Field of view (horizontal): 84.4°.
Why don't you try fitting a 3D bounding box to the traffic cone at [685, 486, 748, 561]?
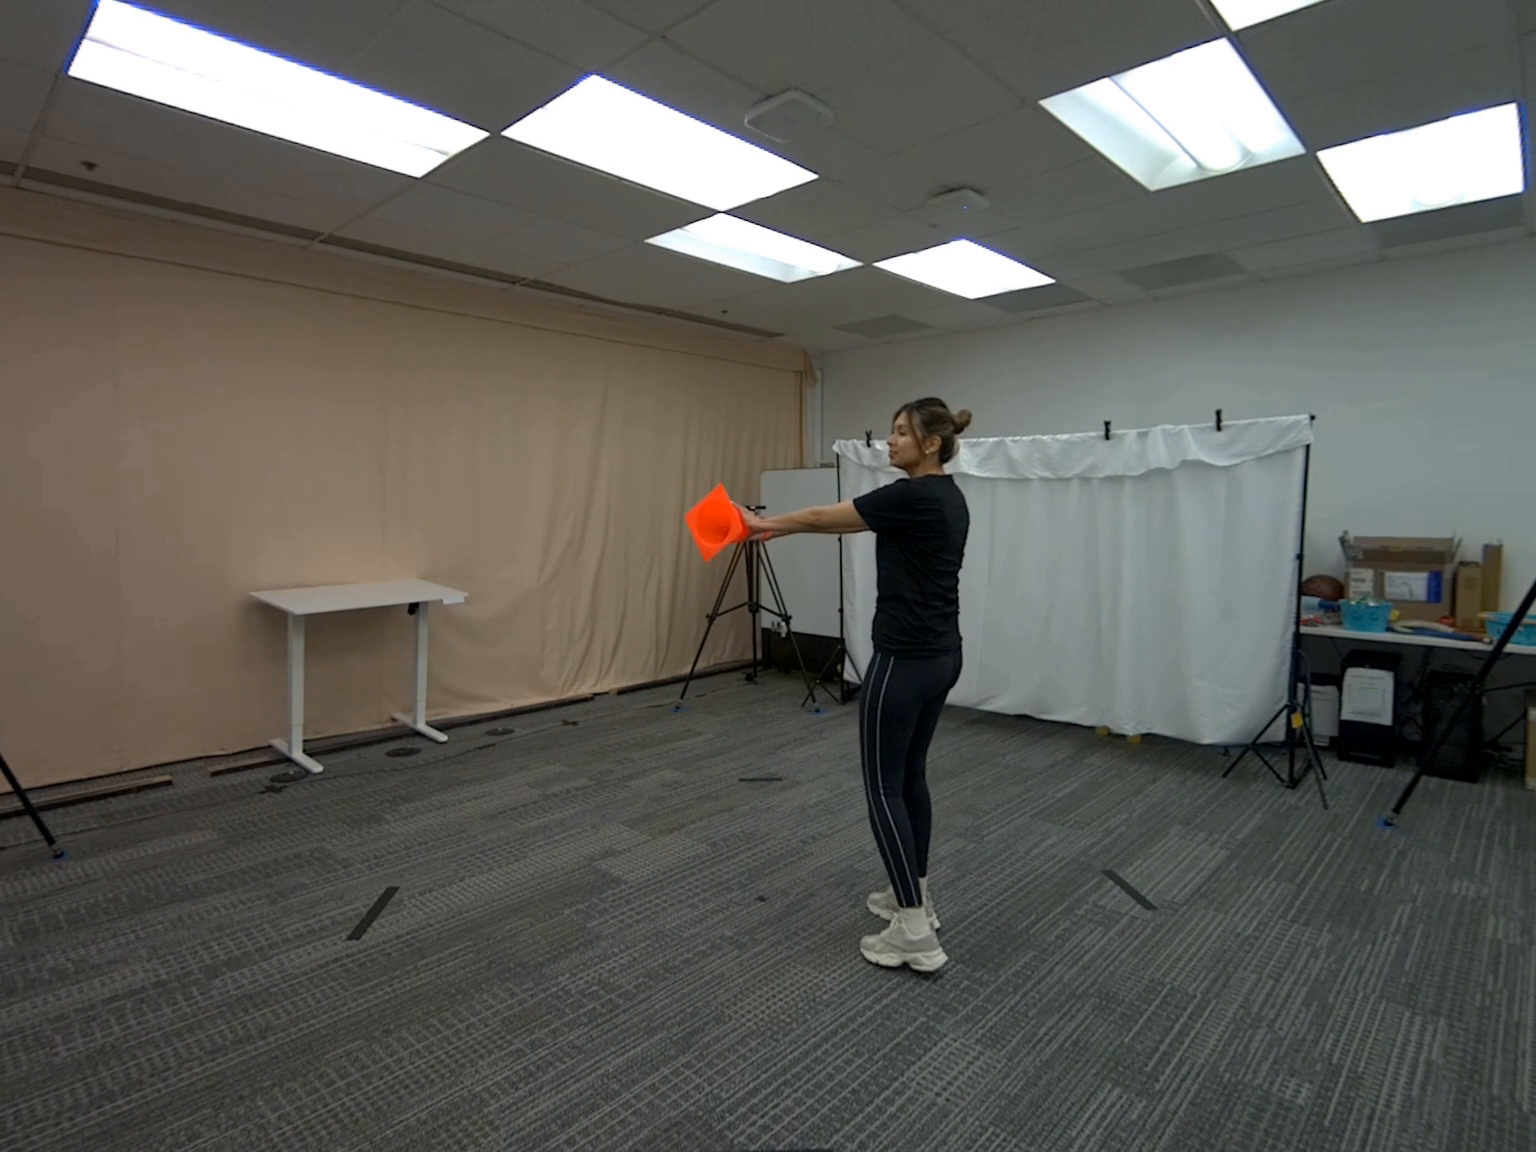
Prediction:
[{"bbox_3d":[-0.067,-0.170,3.040,0.206,0.209,0.371,-39,-27,31],"label":"traffic cone"}]
